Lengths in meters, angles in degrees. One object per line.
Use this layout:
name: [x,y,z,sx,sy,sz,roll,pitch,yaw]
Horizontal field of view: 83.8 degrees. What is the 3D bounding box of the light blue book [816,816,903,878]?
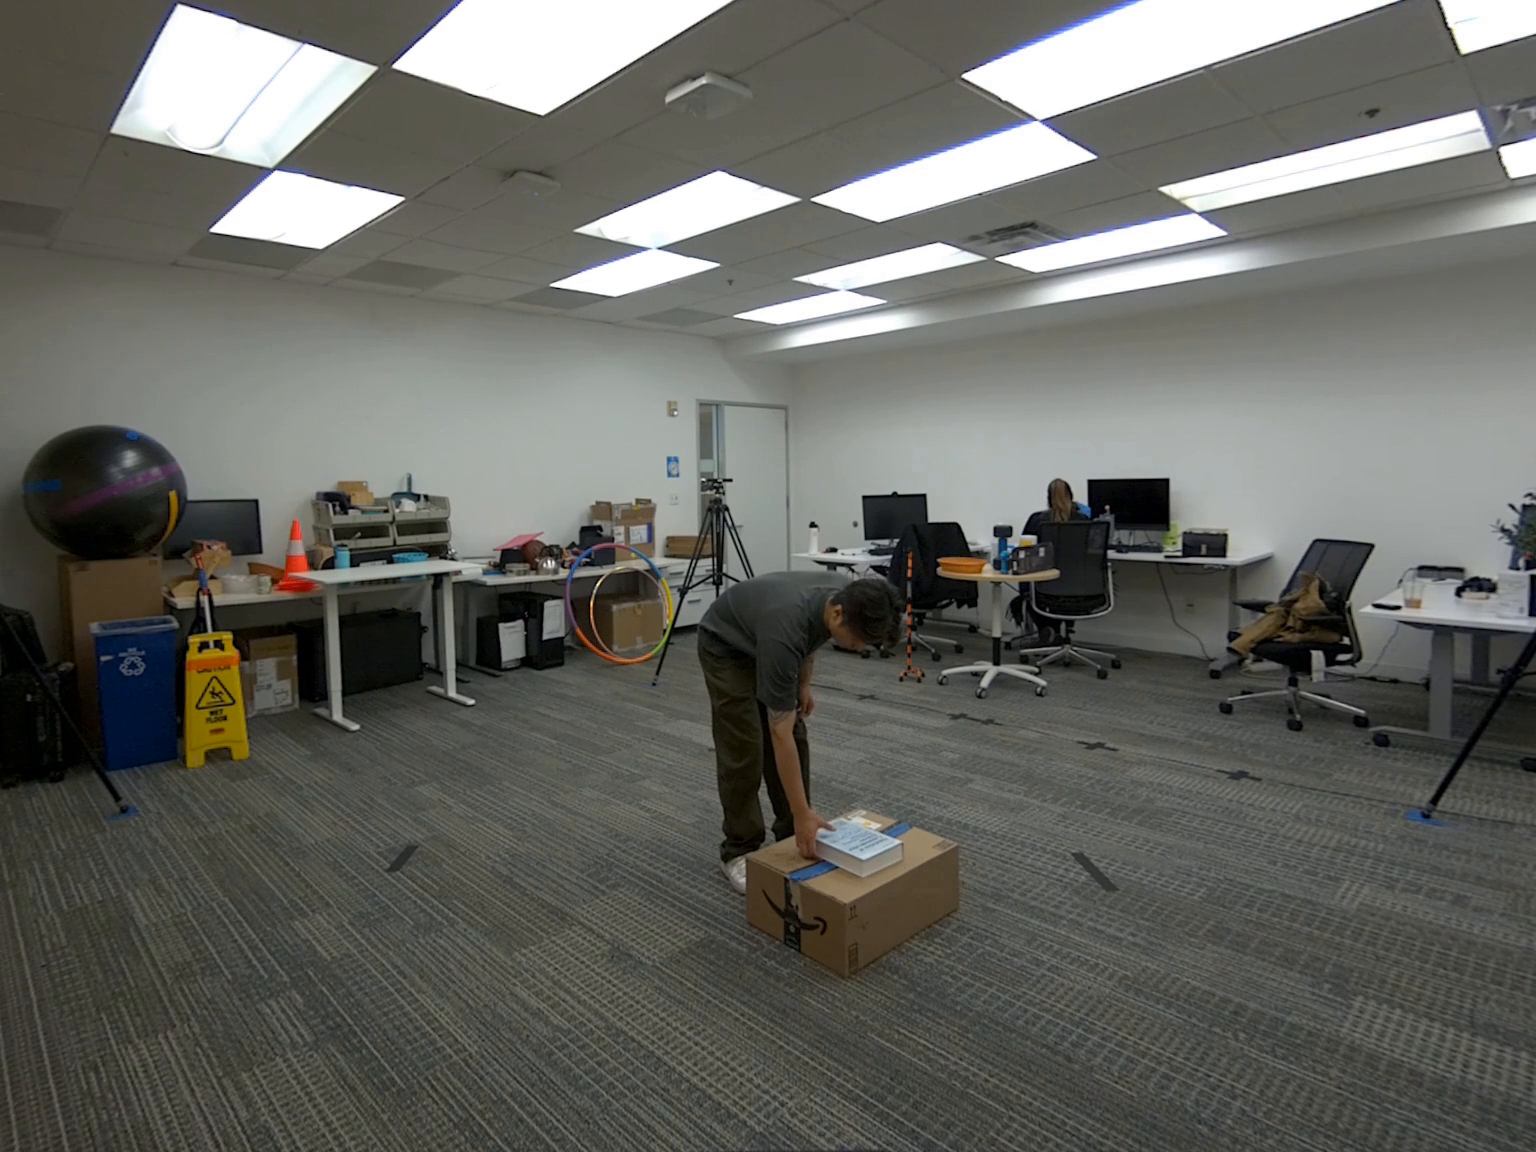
light blue book: [0.280,0.852,2.686,0.186,0.059,0.269,-8,8,-39]
